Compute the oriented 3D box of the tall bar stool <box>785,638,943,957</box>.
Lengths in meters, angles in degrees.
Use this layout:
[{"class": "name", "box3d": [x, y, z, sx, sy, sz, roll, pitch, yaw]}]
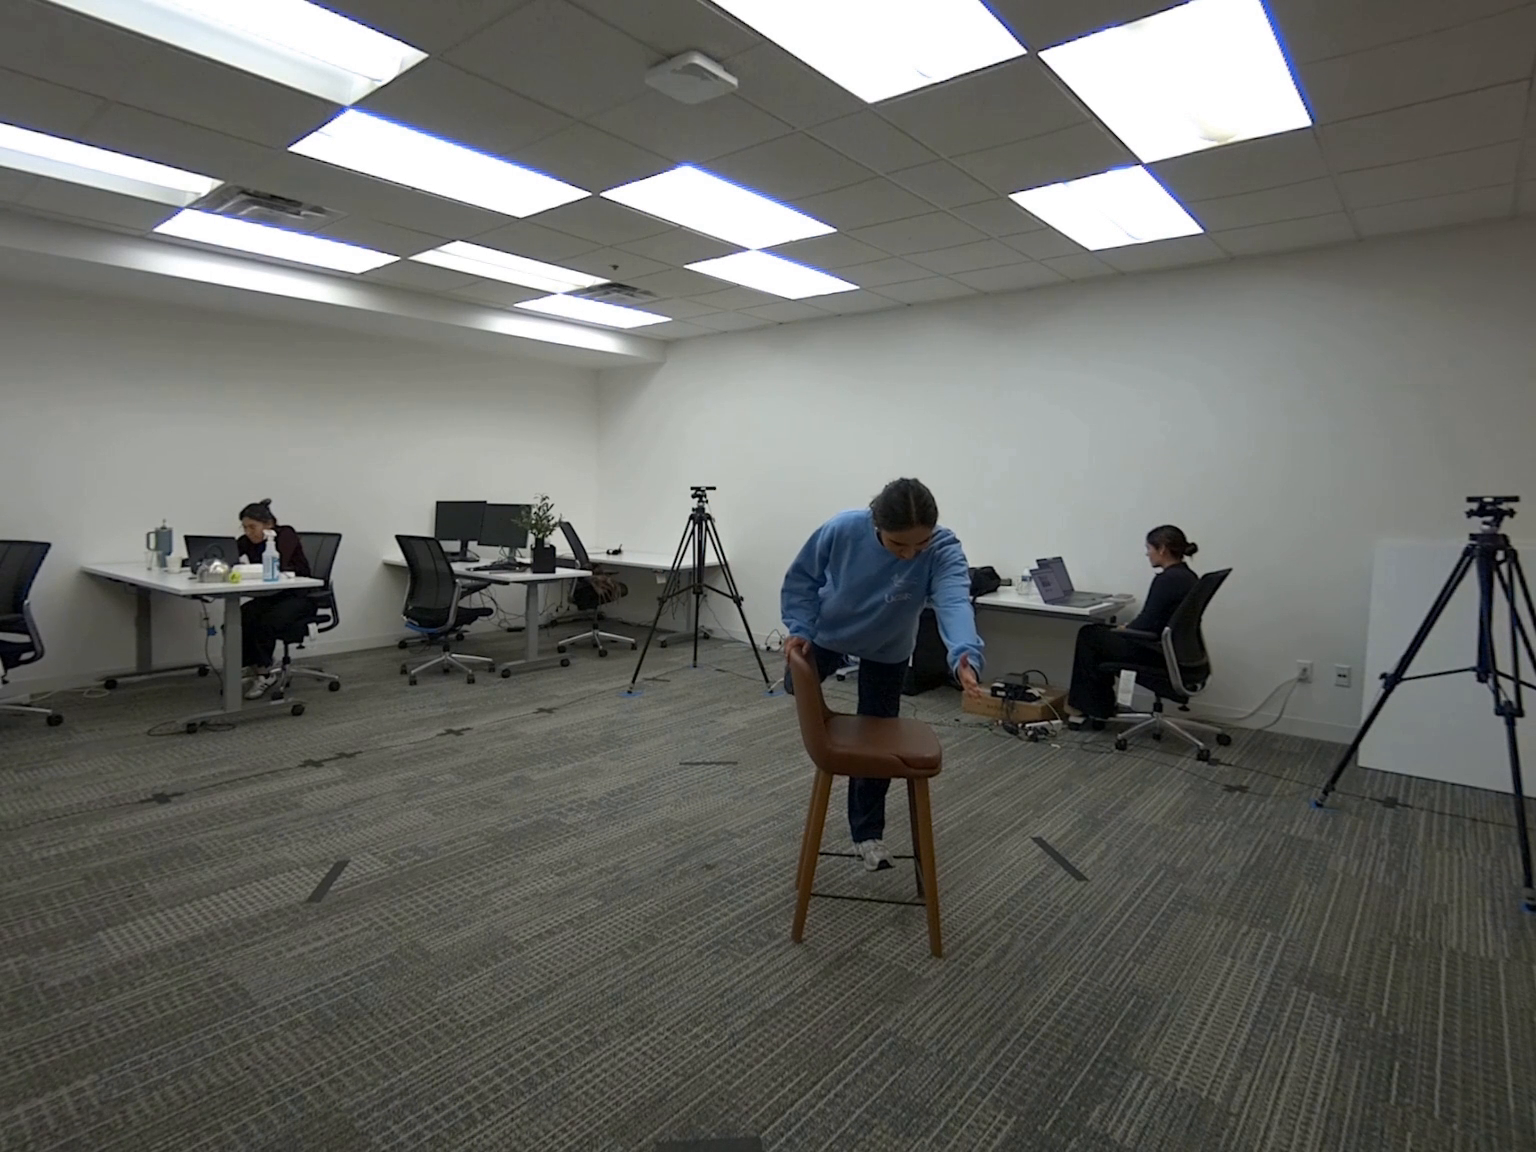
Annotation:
[{"class": "tall bar stool", "box3d": [0.311, 0.678, 2.743, 0.471, 0.887, 0.454, 0, 3, 6]}]
